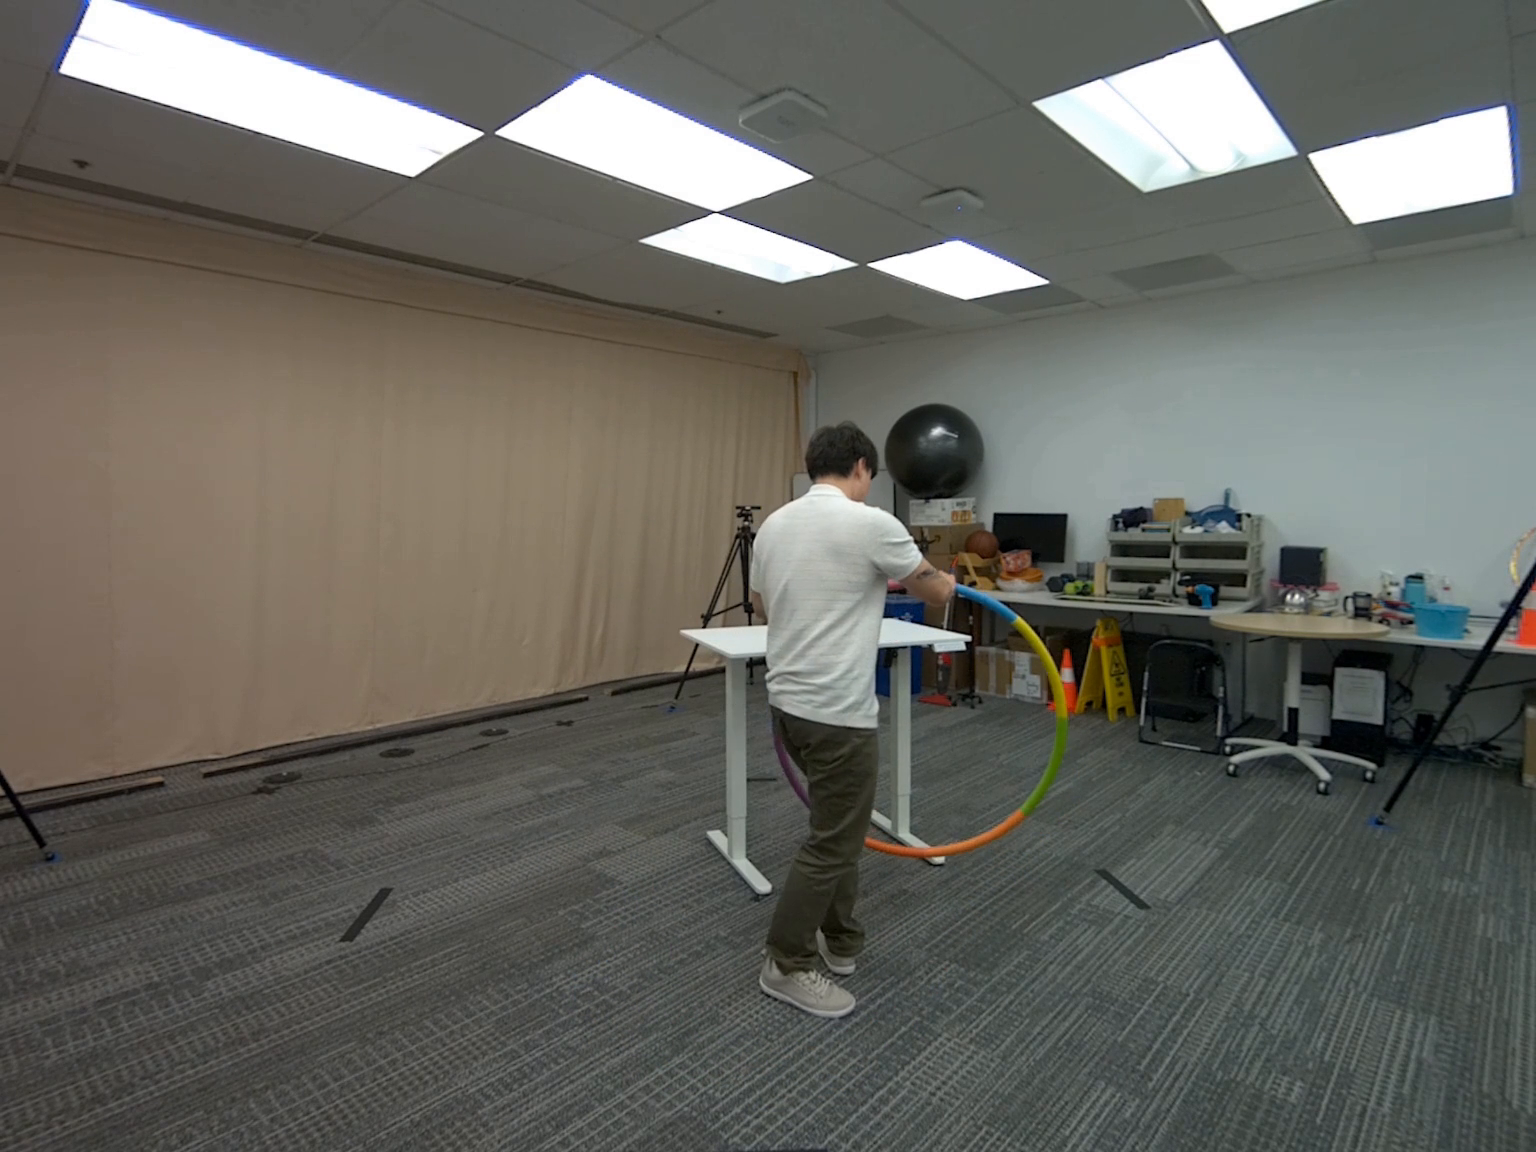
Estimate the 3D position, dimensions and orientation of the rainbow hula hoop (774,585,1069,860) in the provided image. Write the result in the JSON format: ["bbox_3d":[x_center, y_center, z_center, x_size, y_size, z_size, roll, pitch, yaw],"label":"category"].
[{"bbox_3d":[0.512,0.506,2.854,0.987,0.973,0.035,1,9,8],"label":"rainbow hula hoop"}]
